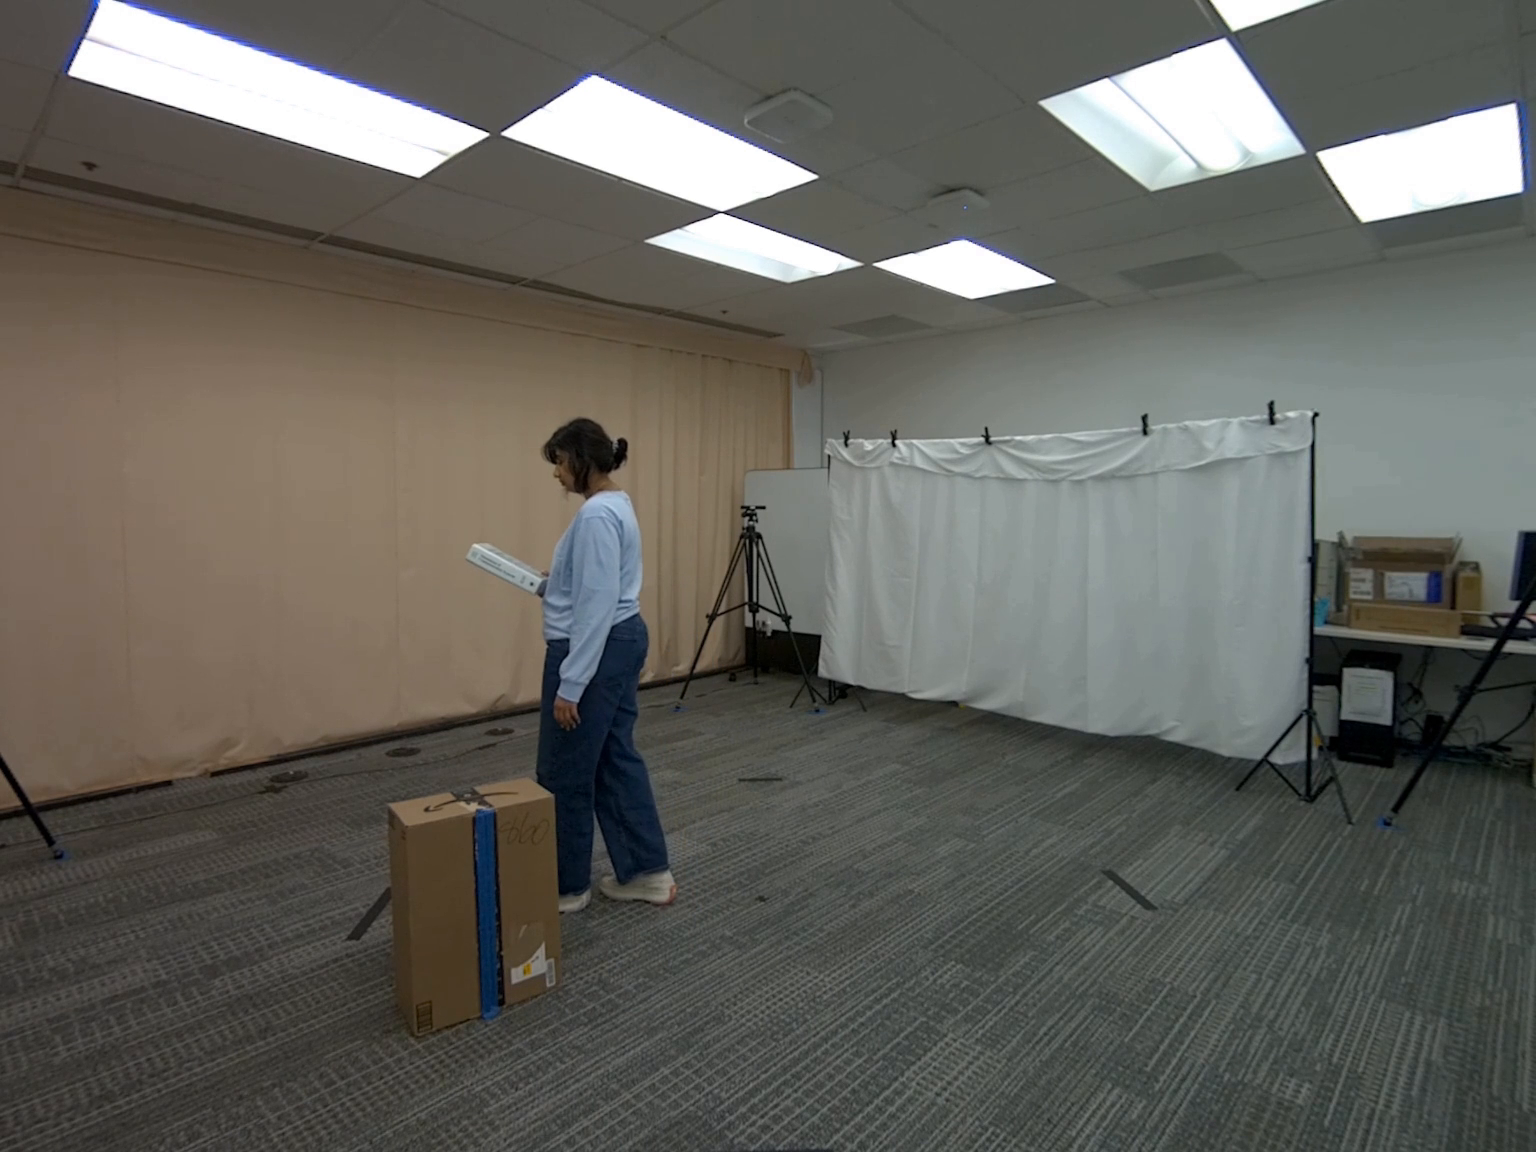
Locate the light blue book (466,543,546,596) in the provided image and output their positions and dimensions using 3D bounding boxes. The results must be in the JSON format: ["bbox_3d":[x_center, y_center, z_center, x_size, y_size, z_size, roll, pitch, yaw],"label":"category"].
[{"bbox_3d":[-0.896,-0.025,2.911,0.260,0.059,0.192,28,0,-3],"label":"light blue book"}]
